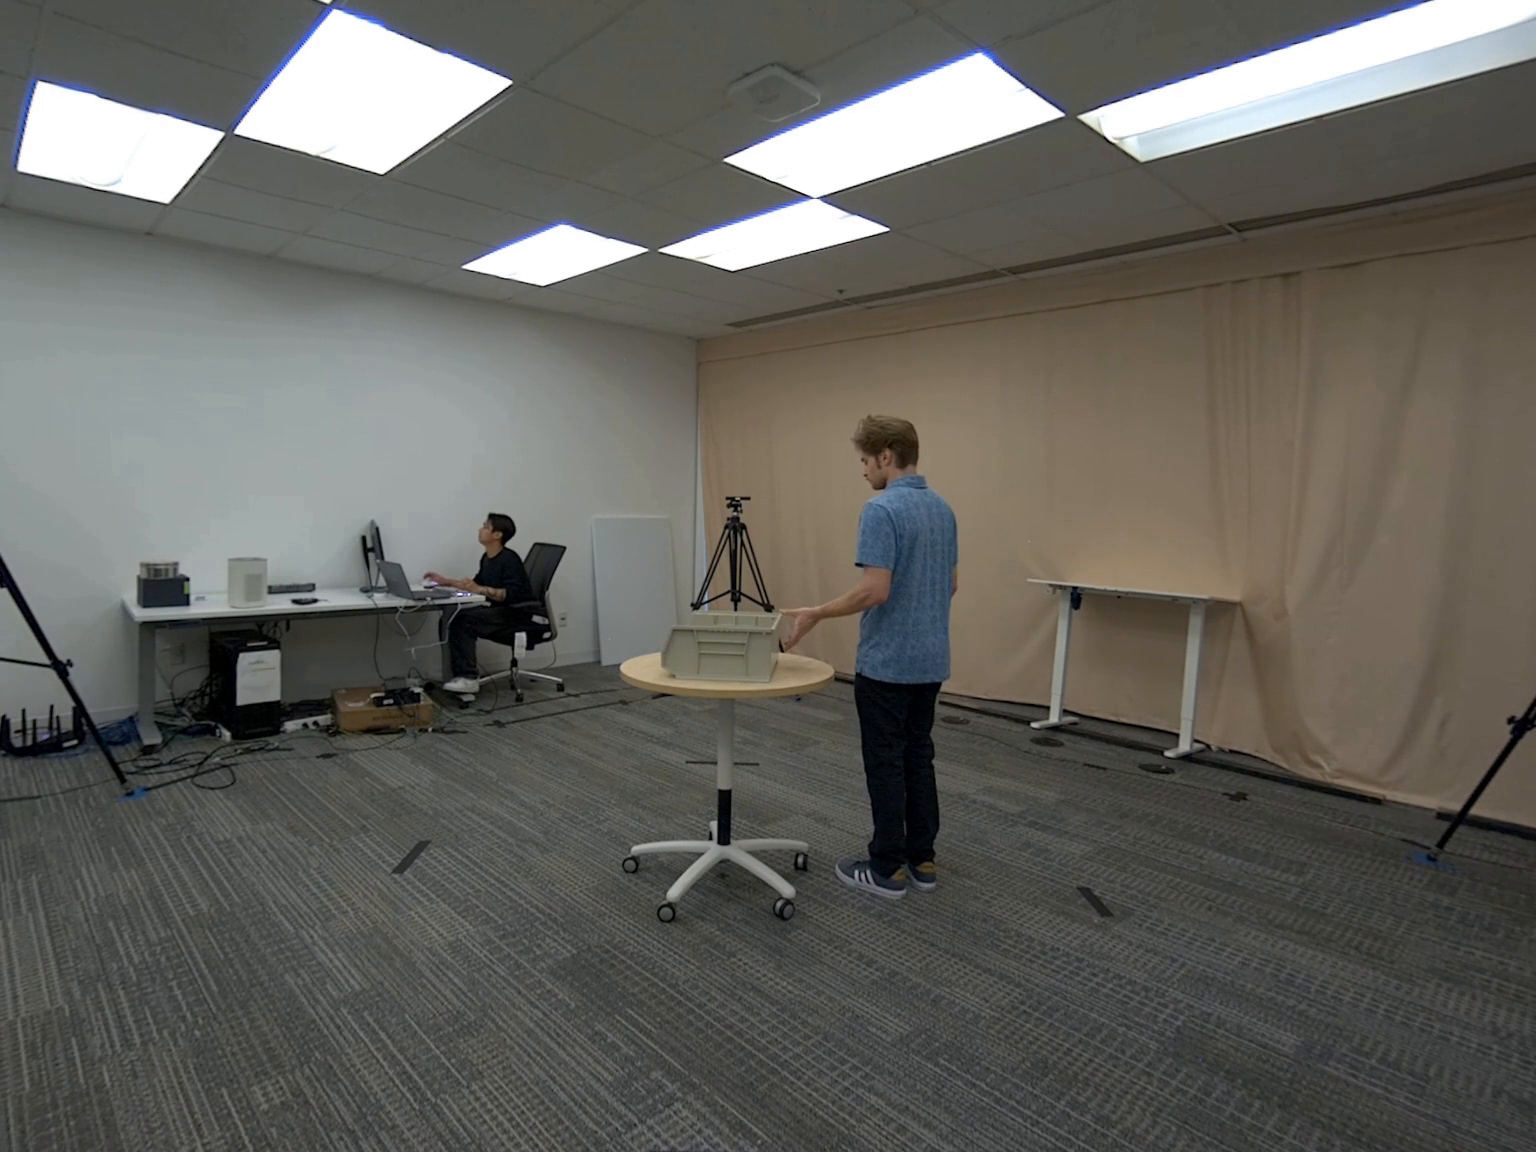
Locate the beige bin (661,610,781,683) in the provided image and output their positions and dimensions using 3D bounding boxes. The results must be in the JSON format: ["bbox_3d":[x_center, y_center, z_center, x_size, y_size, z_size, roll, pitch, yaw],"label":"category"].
[{"bbox_3d":[-0.163,0.238,2.973,0.379,0.188,0.421,3,5,5],"label":"beige bin"}]
